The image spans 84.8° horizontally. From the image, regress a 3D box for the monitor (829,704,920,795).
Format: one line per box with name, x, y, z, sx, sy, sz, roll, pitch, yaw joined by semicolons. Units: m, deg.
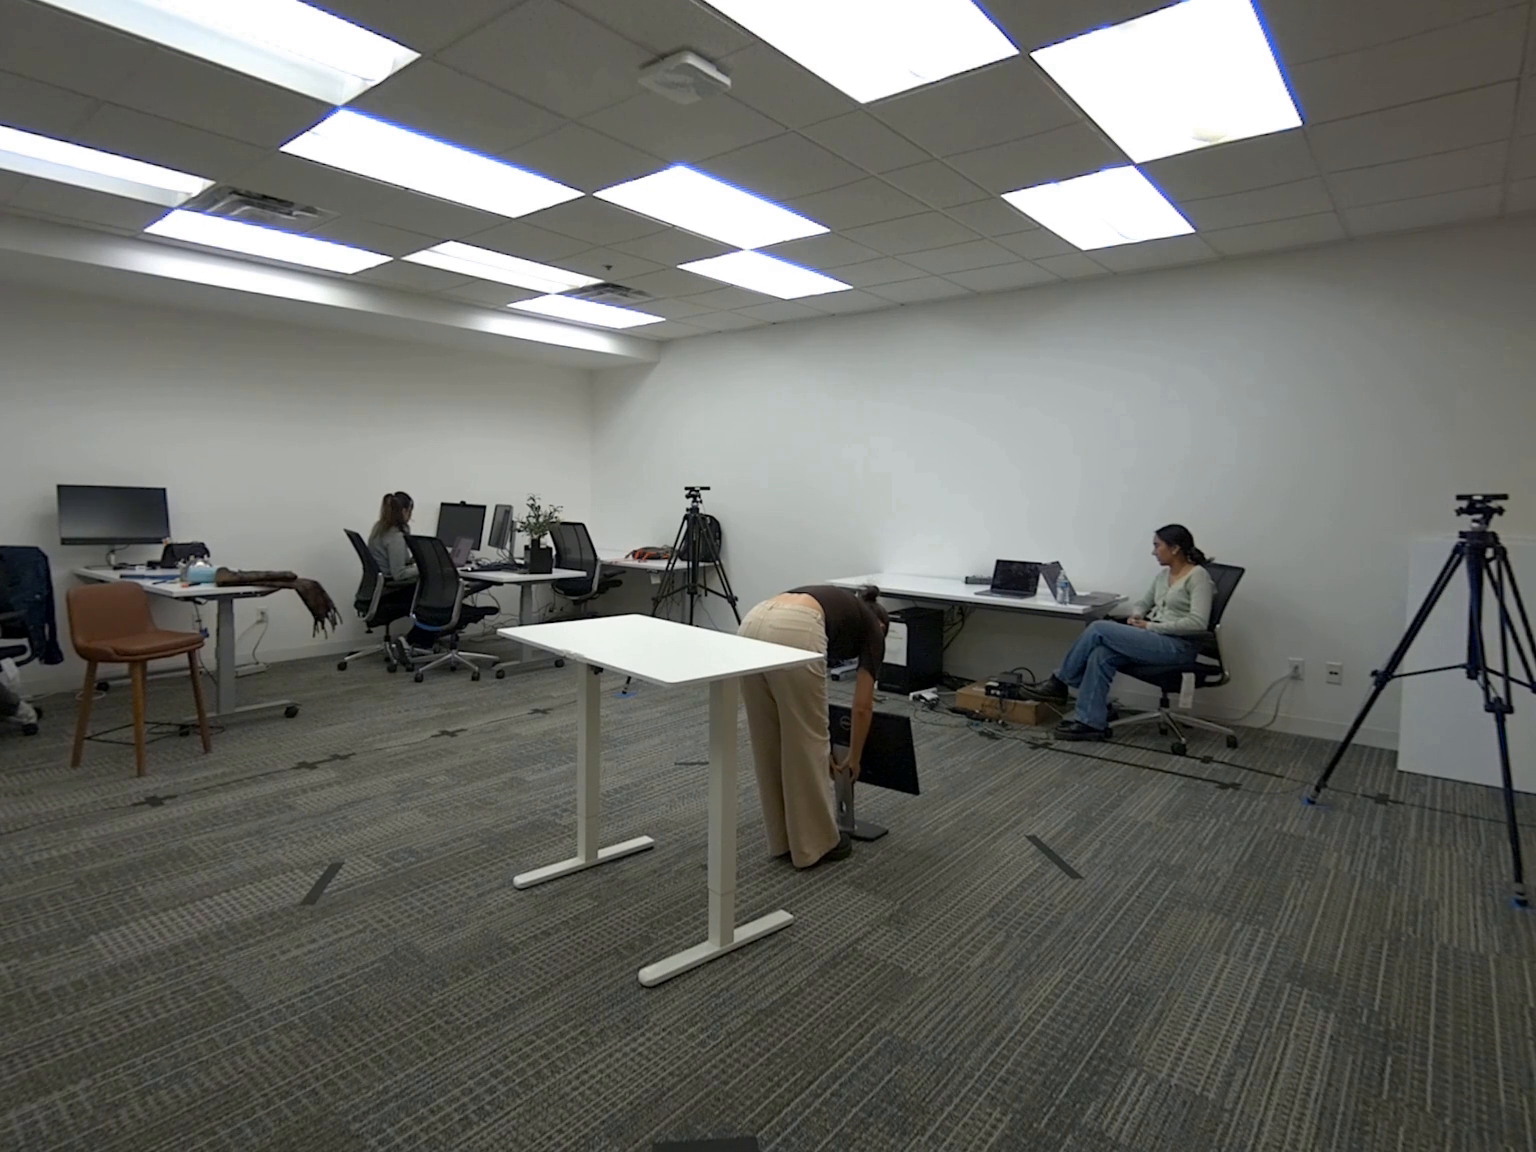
monitor;0.326;0.781;3.472;0.556;0.520;0.182;3;5;35
